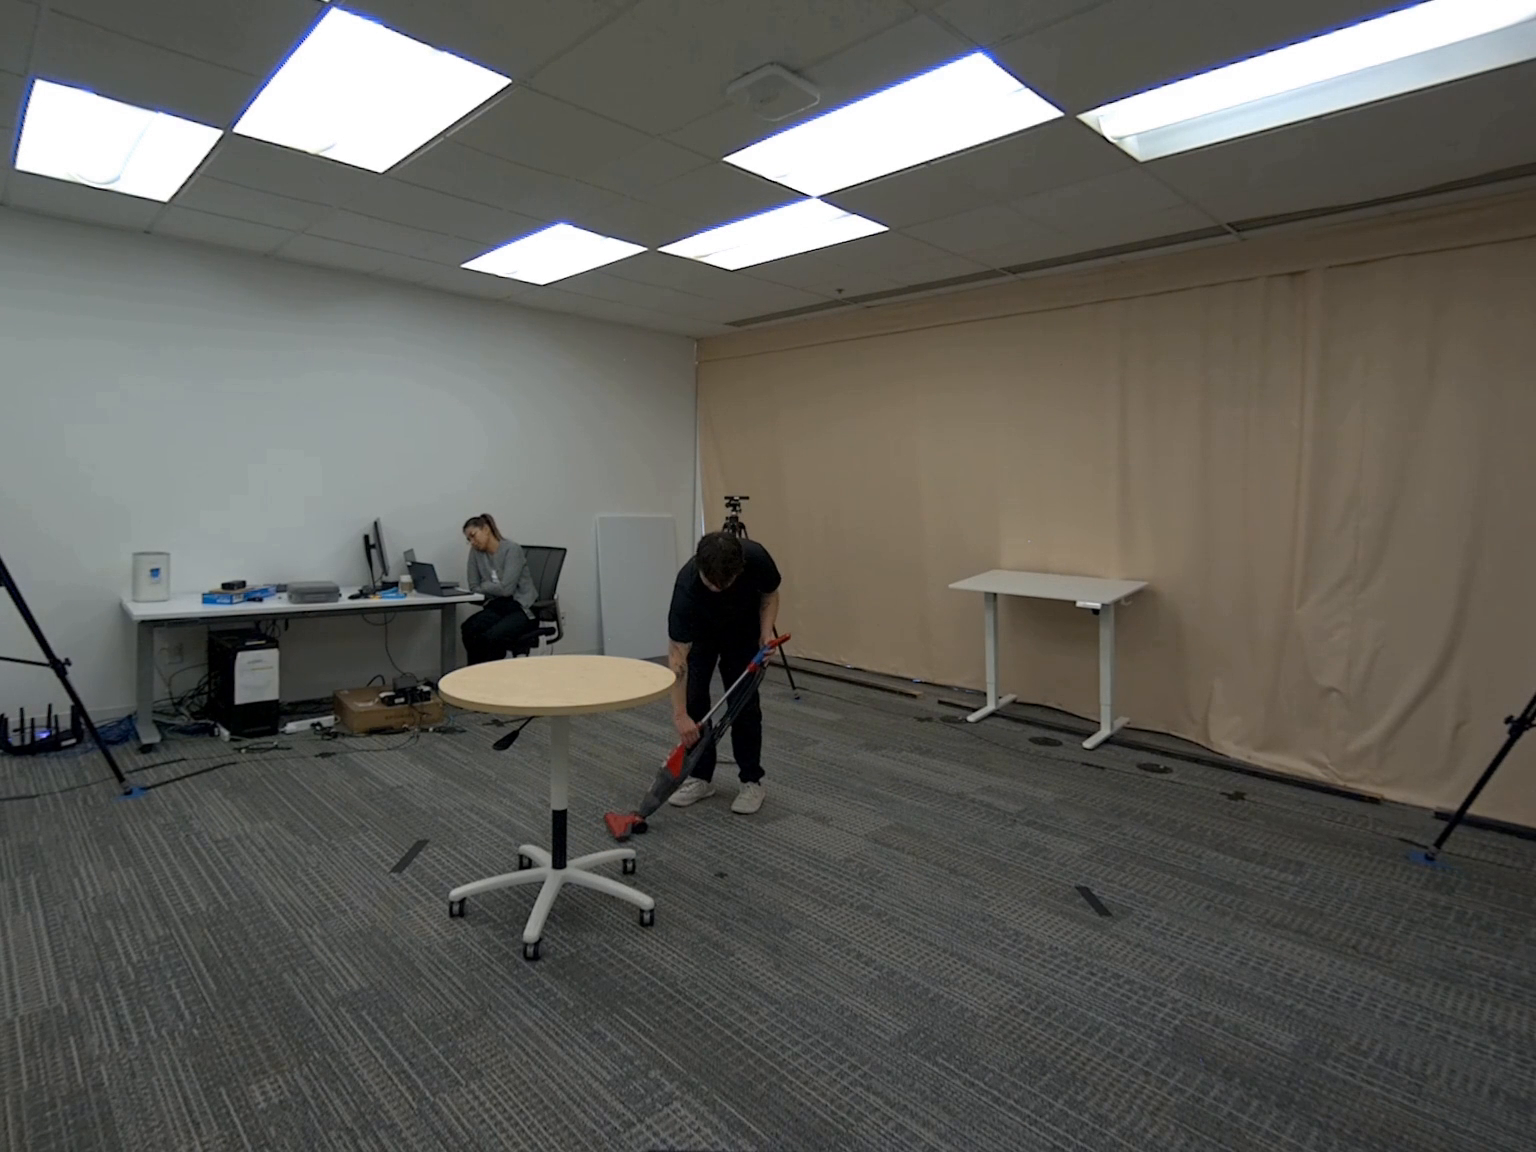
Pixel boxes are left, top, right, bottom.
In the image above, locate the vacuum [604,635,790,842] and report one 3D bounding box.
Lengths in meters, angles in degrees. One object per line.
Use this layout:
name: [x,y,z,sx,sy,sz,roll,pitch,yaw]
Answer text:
vacuum: [-0.269,0.665,3.602,0.141,1.049,0.258,47,-12,-22]
